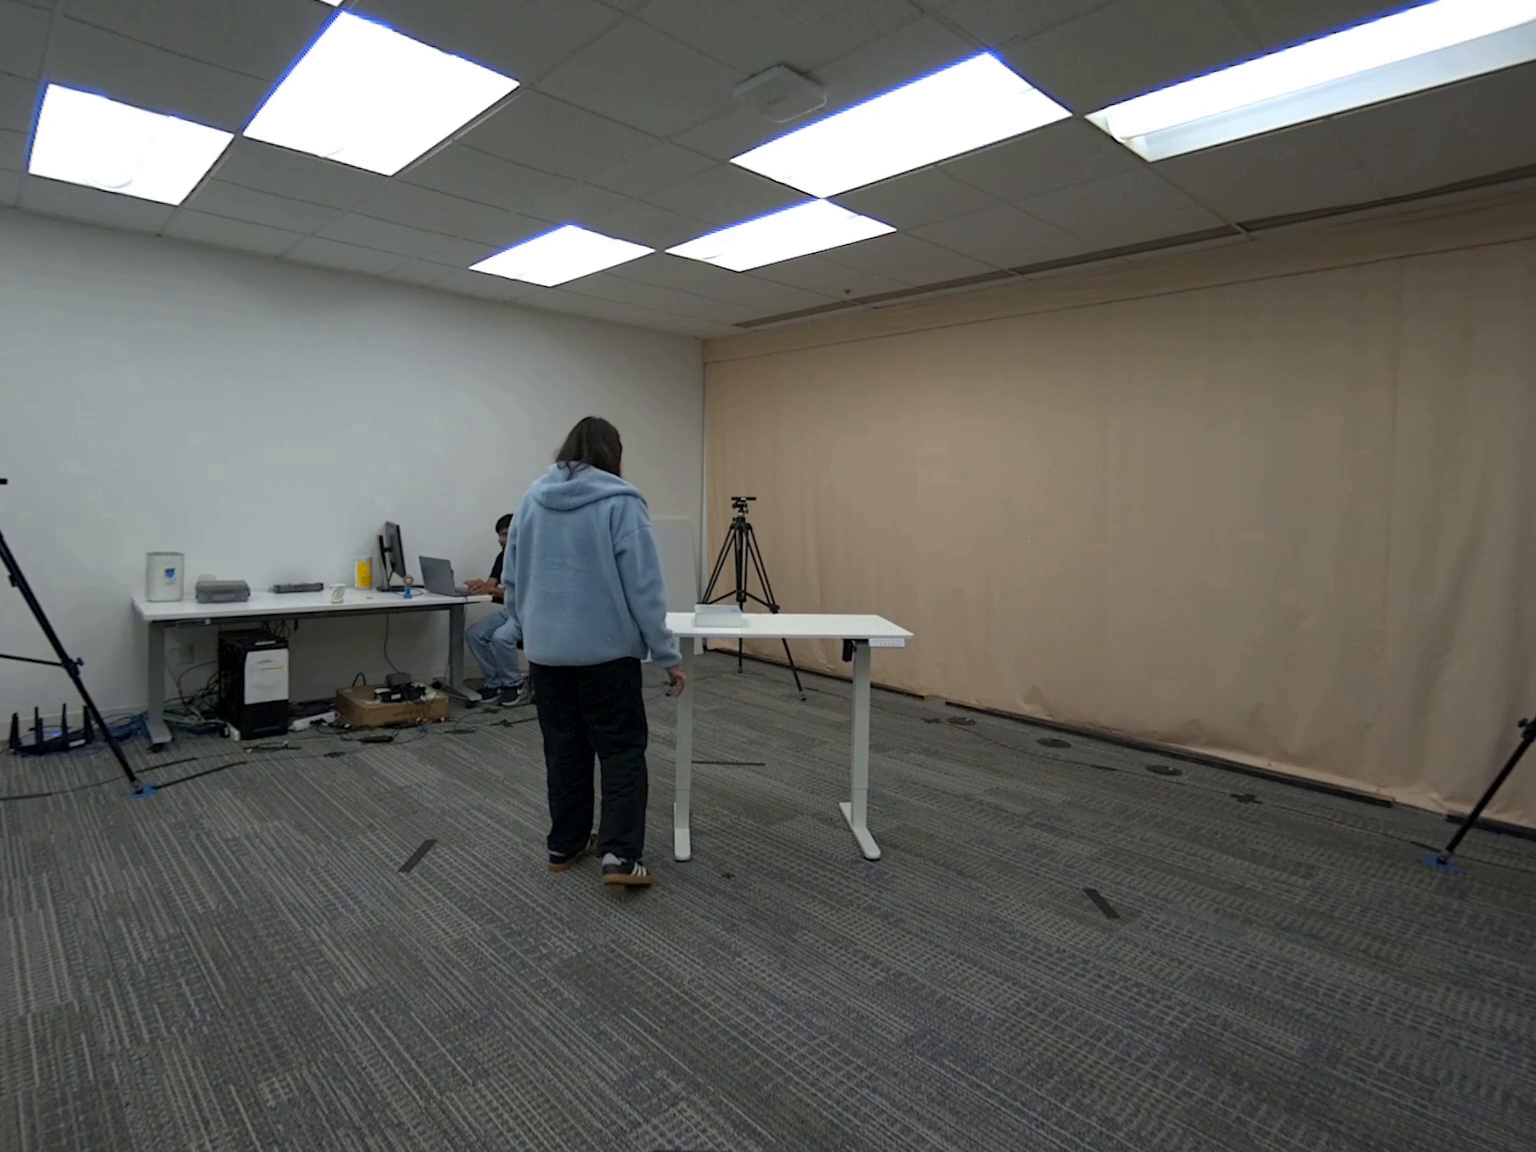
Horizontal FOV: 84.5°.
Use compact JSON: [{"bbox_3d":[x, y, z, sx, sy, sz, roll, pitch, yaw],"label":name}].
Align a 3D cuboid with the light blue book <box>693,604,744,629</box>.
[{"bbox_3d":[-0.220,0.163,3.473,0.191,0.059,0.262,1,6,-4],"label":"light blue book"}]
